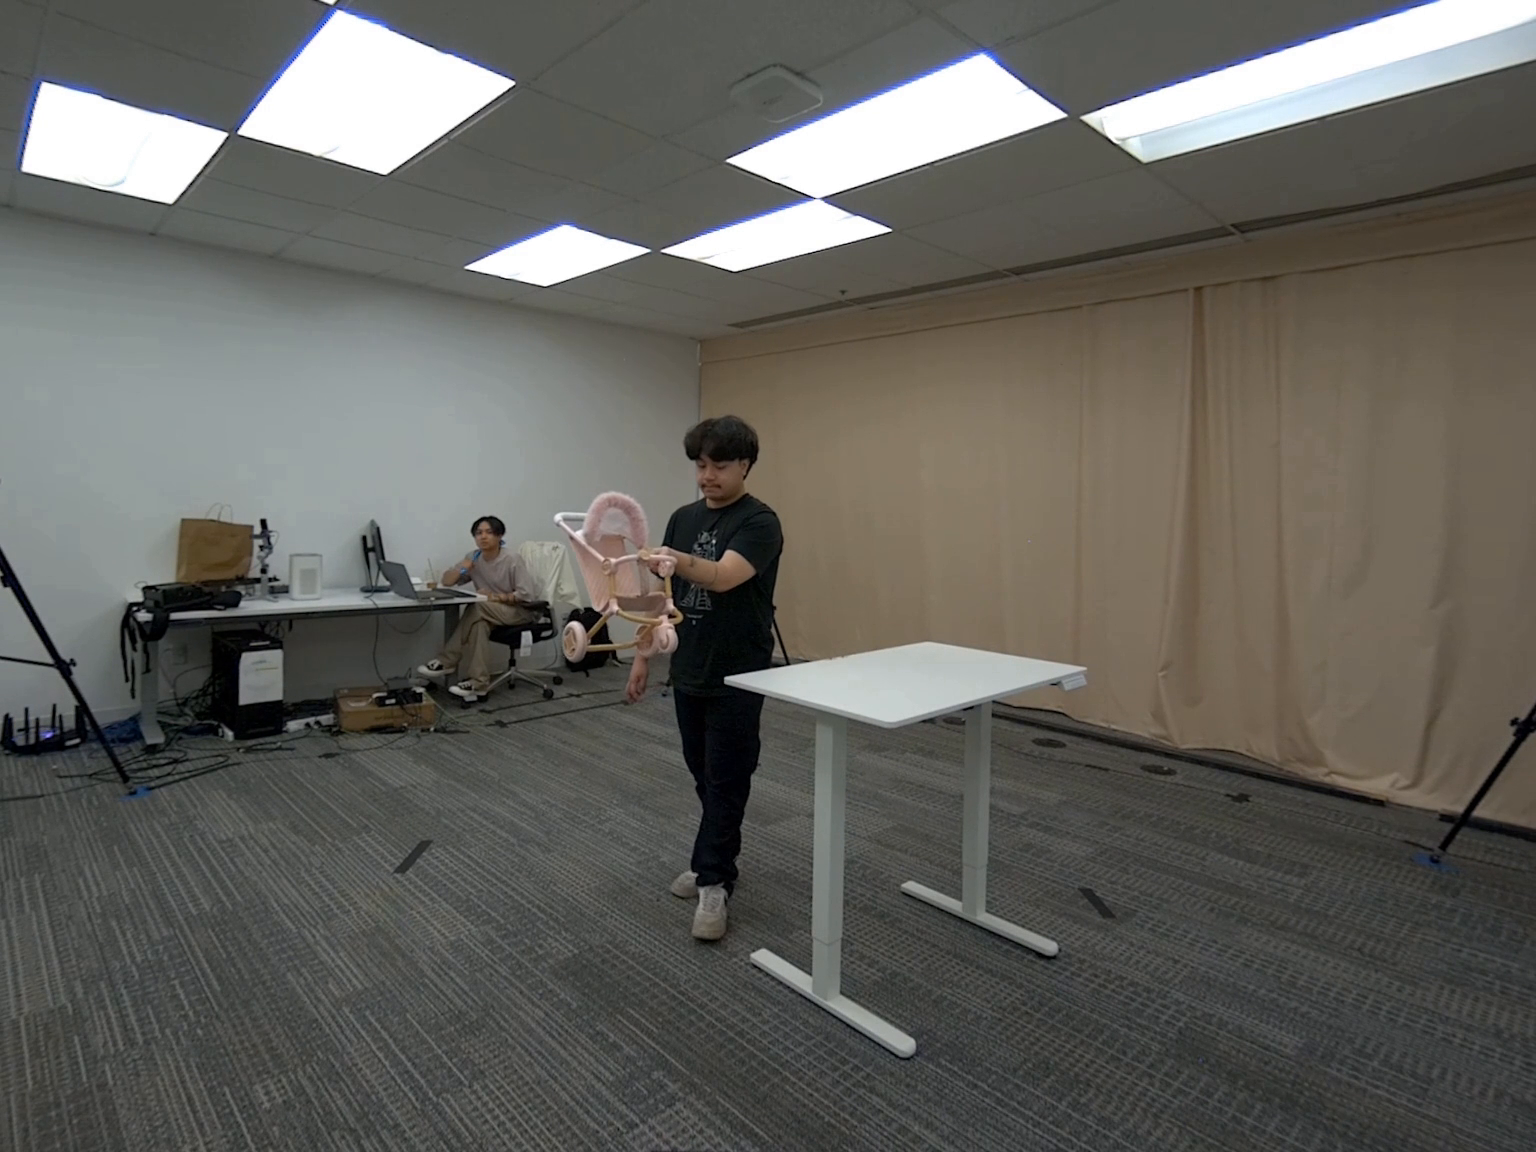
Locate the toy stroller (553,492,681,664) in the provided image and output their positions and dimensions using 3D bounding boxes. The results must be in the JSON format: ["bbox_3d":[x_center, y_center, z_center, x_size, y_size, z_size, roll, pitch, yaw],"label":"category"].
[{"bbox_3d":[-0.414,-0.001,2.326,0.275,0.544,0.344,2,-24,-38],"label":"toy stroller"}]
